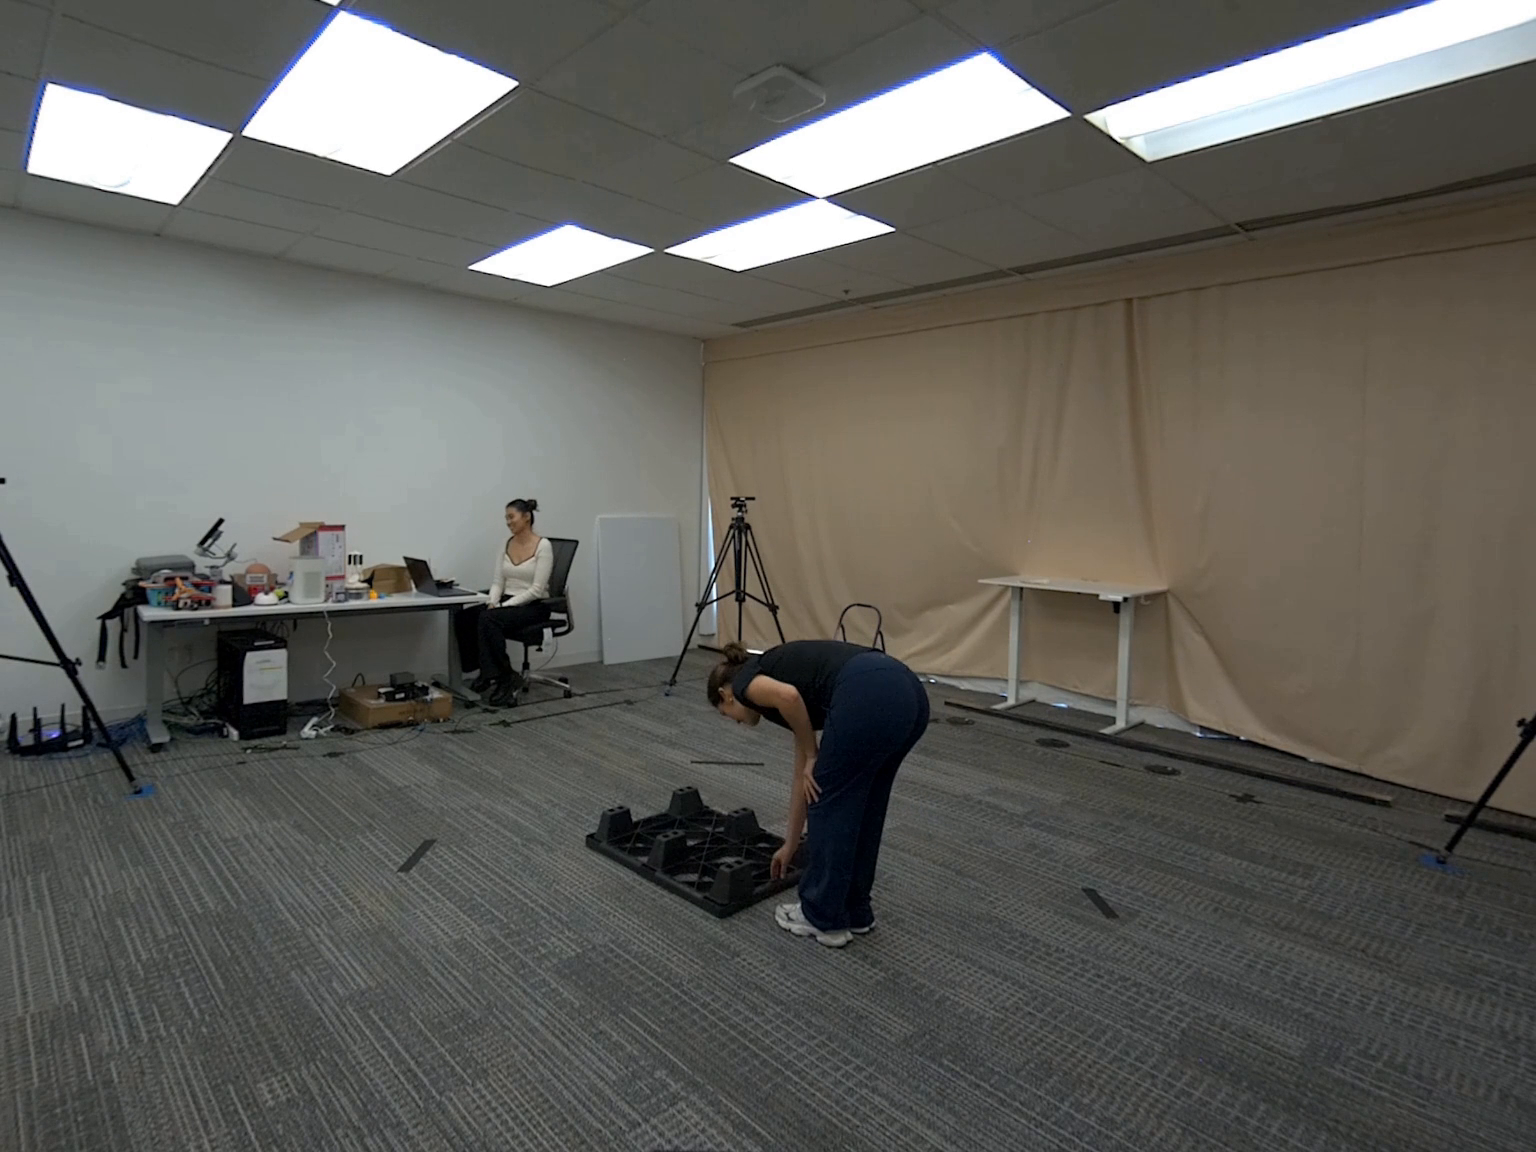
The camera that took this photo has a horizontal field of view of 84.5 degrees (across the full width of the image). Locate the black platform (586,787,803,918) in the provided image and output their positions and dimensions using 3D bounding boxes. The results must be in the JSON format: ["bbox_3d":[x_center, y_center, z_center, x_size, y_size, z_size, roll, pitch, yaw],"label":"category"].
[{"bbox_3d":[-0.245,1.025,3.250,0.826,0.143,0.591,6,6,44],"label":"black platform"}]
